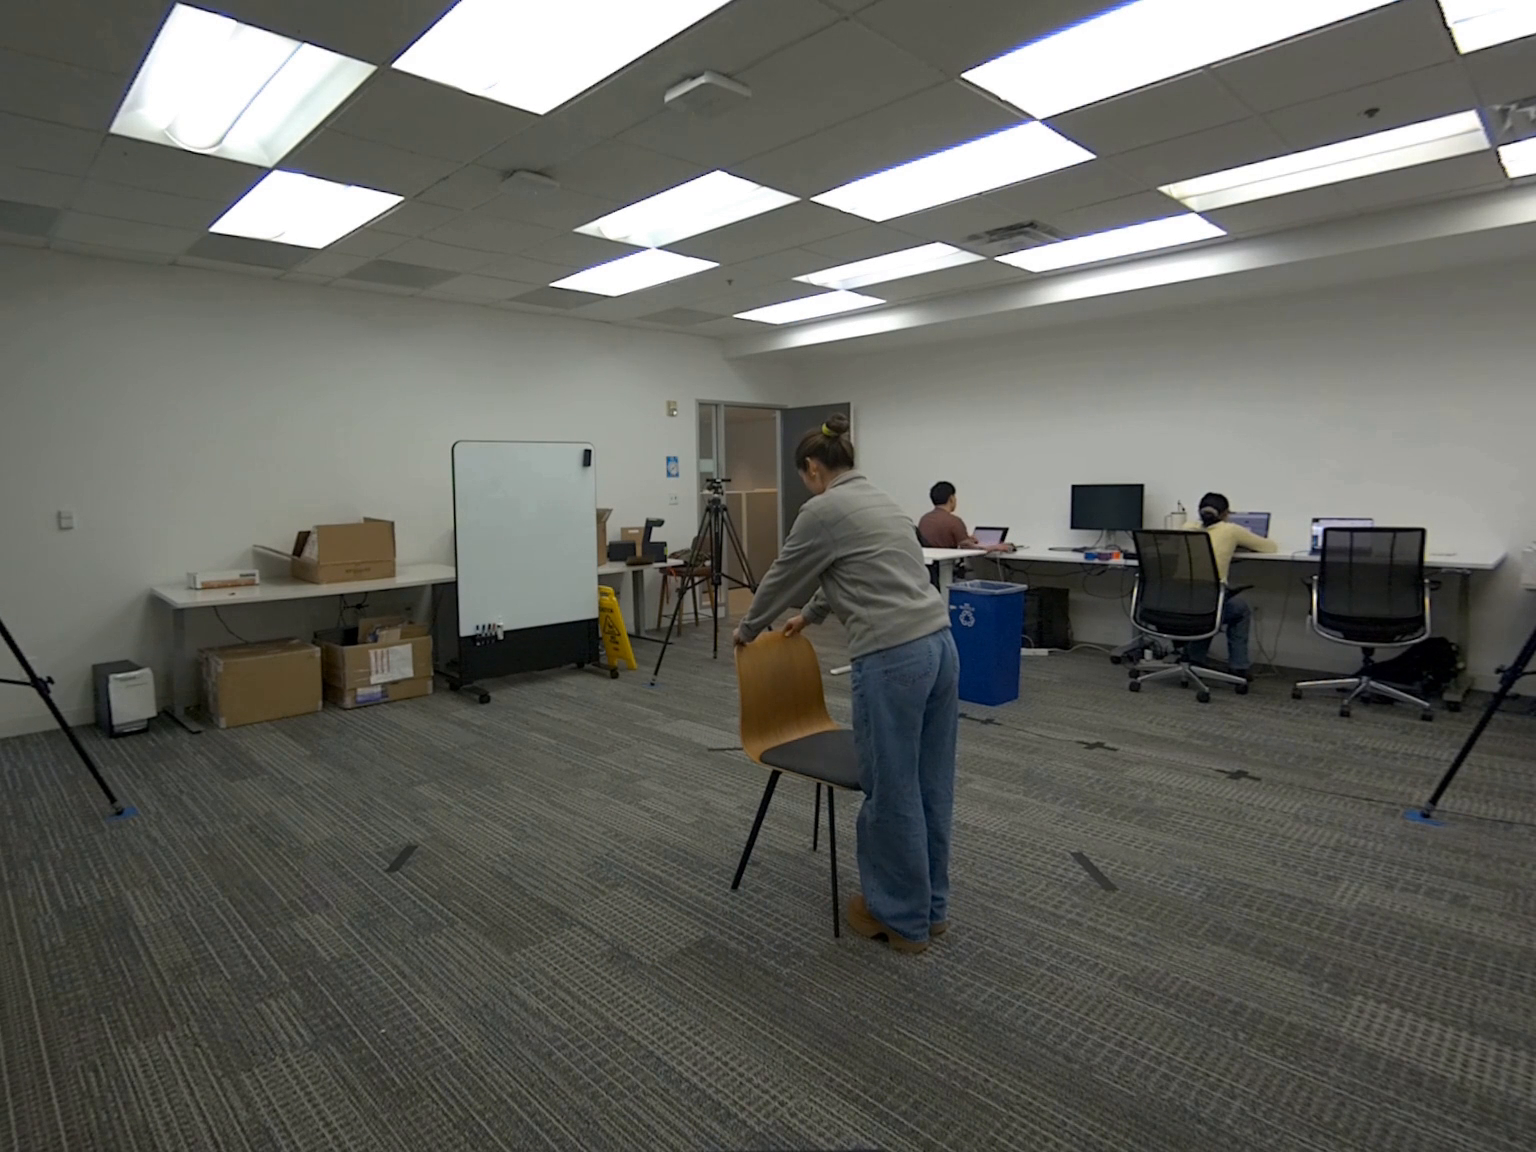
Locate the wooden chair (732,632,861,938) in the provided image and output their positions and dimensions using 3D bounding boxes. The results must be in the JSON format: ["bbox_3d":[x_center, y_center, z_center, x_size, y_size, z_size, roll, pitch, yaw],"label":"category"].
[{"bbox_3d":[0.190,0.640,2.874,0.538,0.876,0.465,-2,2,44],"label":"wooden chair"}]
